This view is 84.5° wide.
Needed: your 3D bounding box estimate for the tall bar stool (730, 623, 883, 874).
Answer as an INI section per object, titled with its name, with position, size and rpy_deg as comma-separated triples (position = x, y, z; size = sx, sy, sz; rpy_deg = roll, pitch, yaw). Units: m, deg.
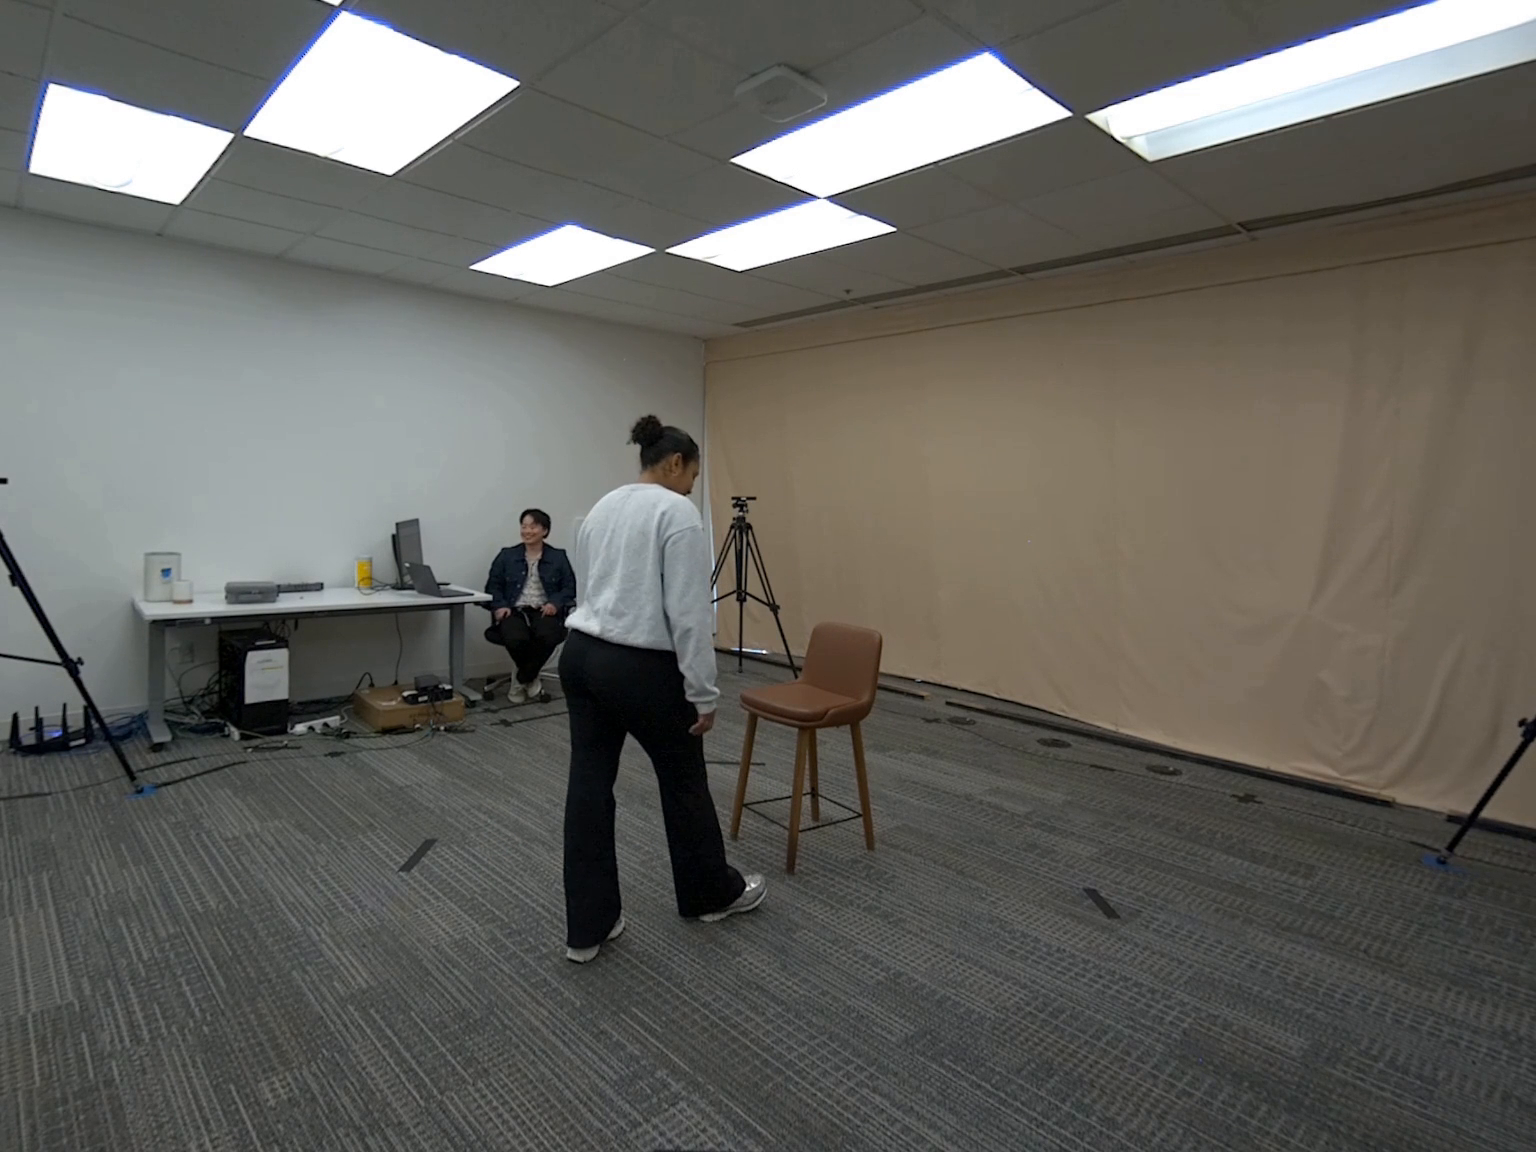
[tall bar stool]
position = 0.152, 0.653, 3.392
size = 0.457, 0.889, 0.467
rpy_deg = 2, 2, -35
